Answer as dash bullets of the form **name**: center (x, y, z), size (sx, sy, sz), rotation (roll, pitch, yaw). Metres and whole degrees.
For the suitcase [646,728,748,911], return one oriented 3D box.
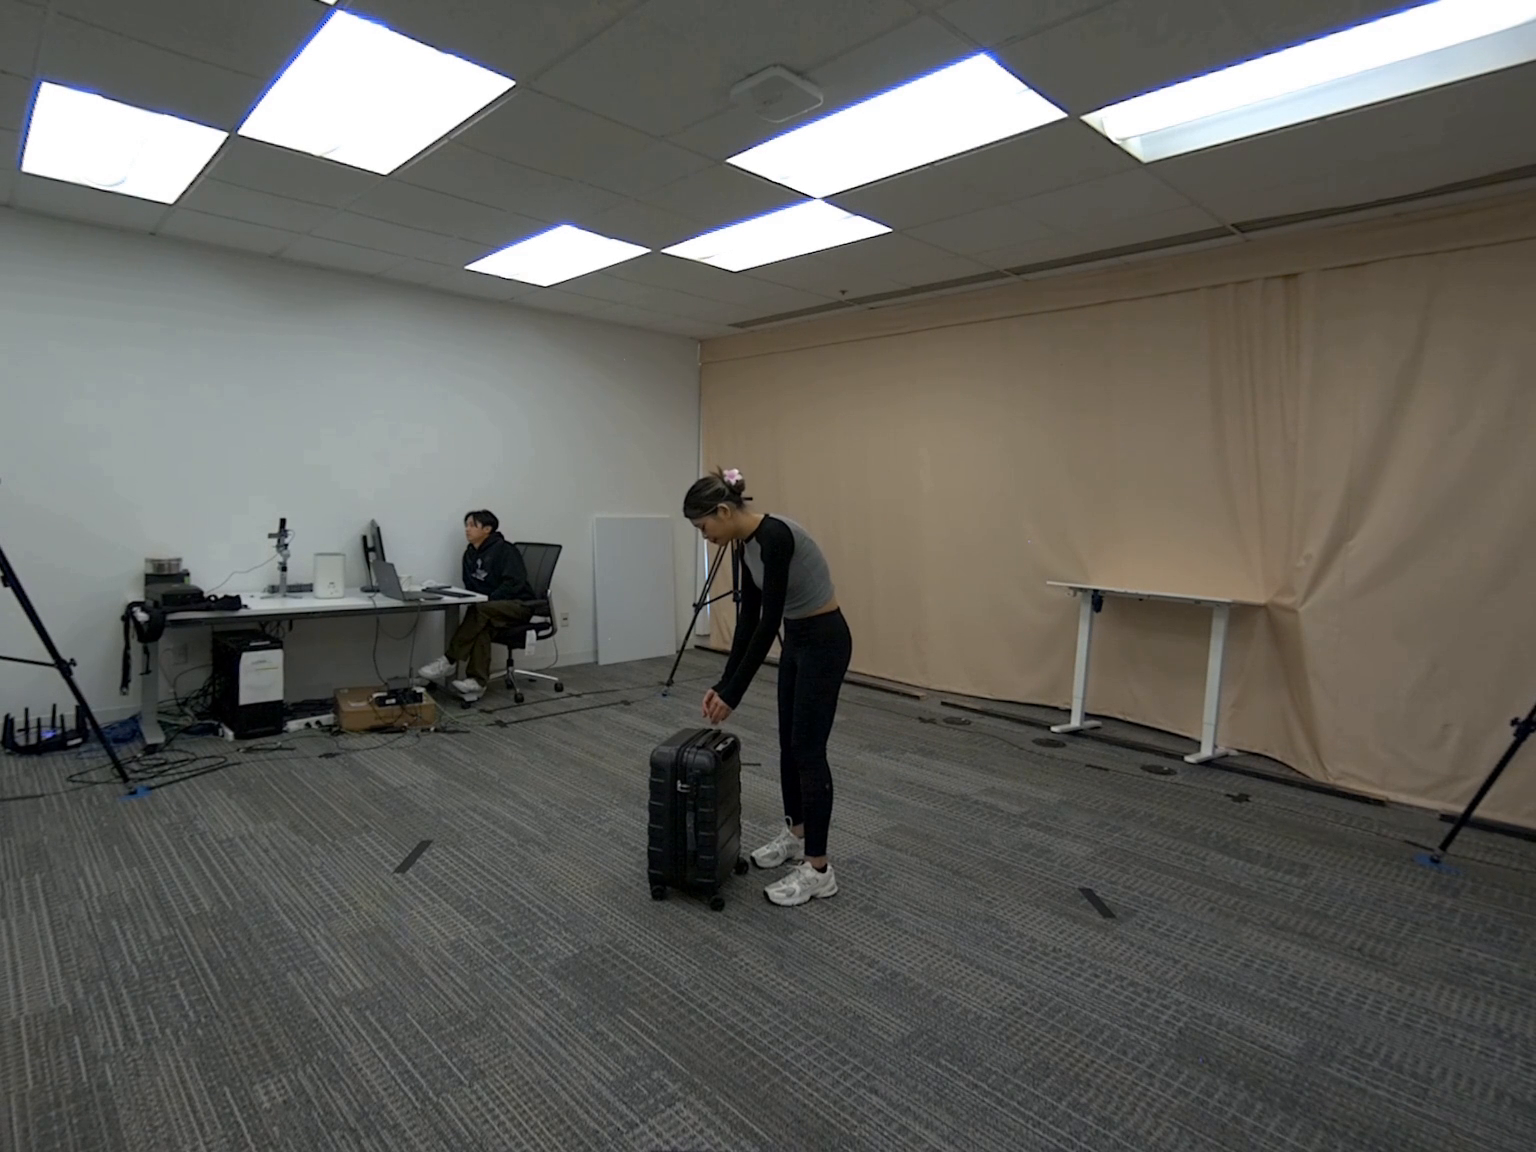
- **suitcase**: center (-0.262, 0.837, 3.004), size (0.252, 0.548, 0.371), rotation (1, 4, 18)
